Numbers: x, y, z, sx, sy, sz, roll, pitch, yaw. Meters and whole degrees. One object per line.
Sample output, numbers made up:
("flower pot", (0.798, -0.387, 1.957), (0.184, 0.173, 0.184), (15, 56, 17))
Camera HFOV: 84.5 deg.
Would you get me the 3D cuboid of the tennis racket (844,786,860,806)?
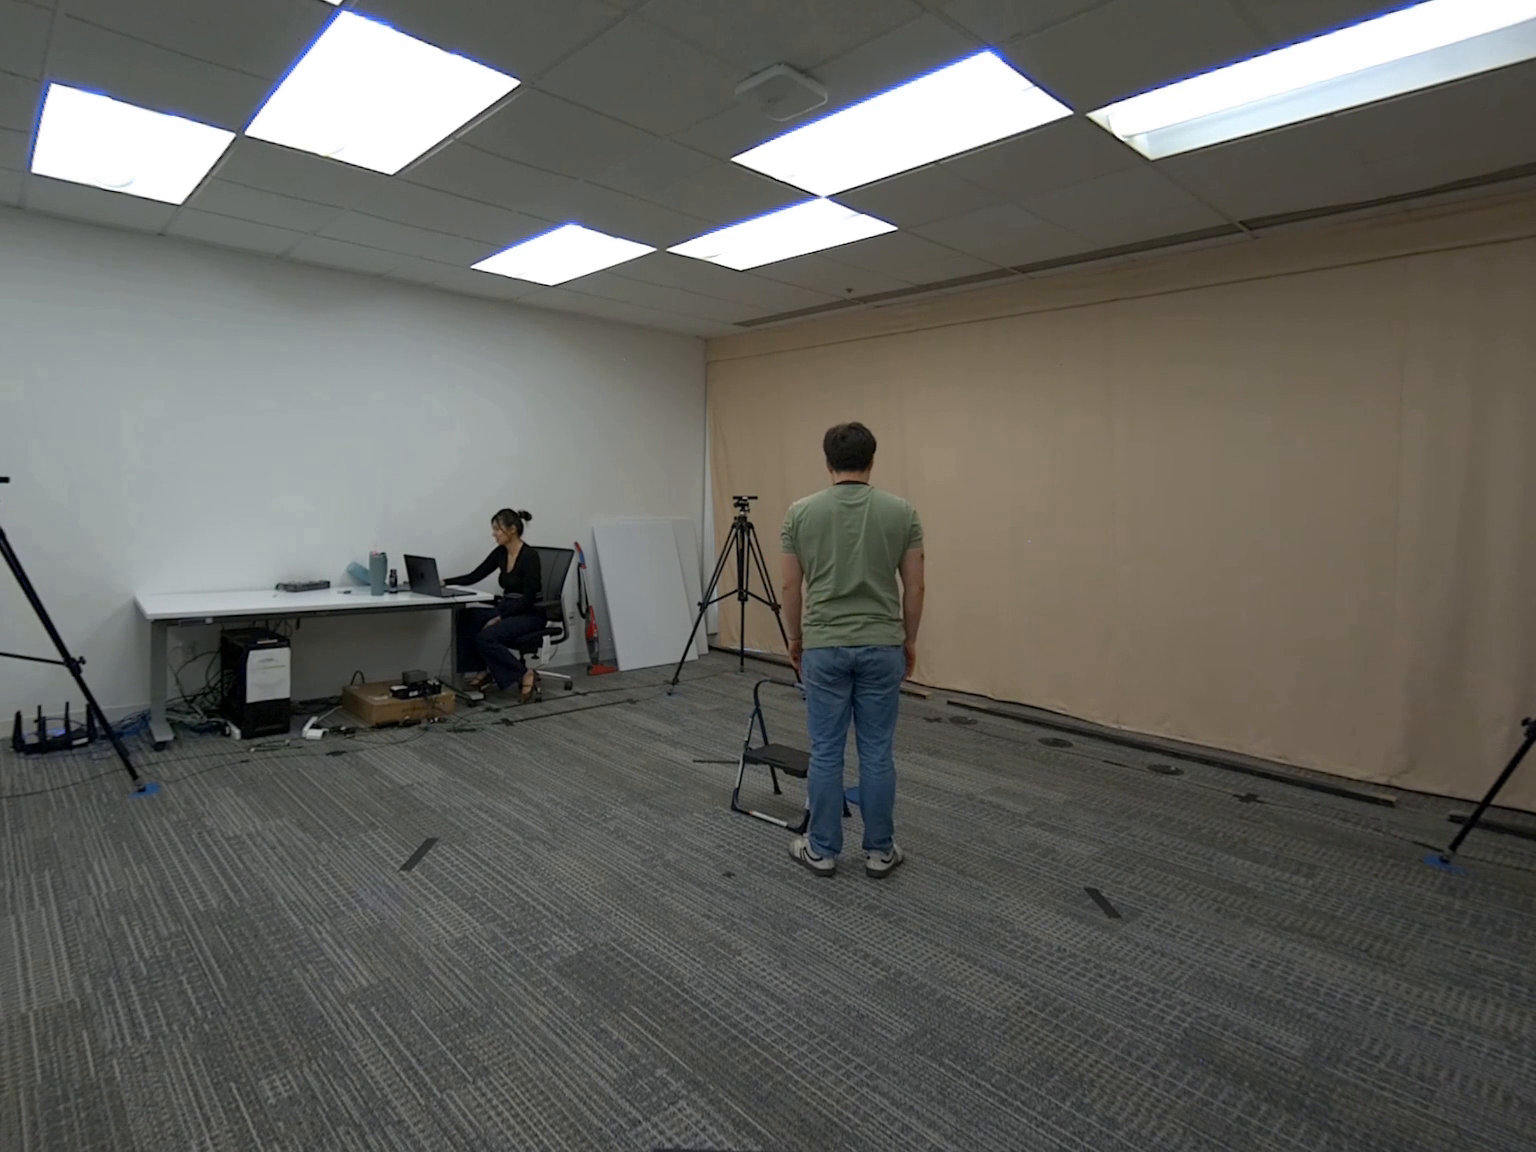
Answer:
("tennis racket", (0.468, 1.041, 3.880), (0.212, 0.032, 0.437), (0, 4, -10))
